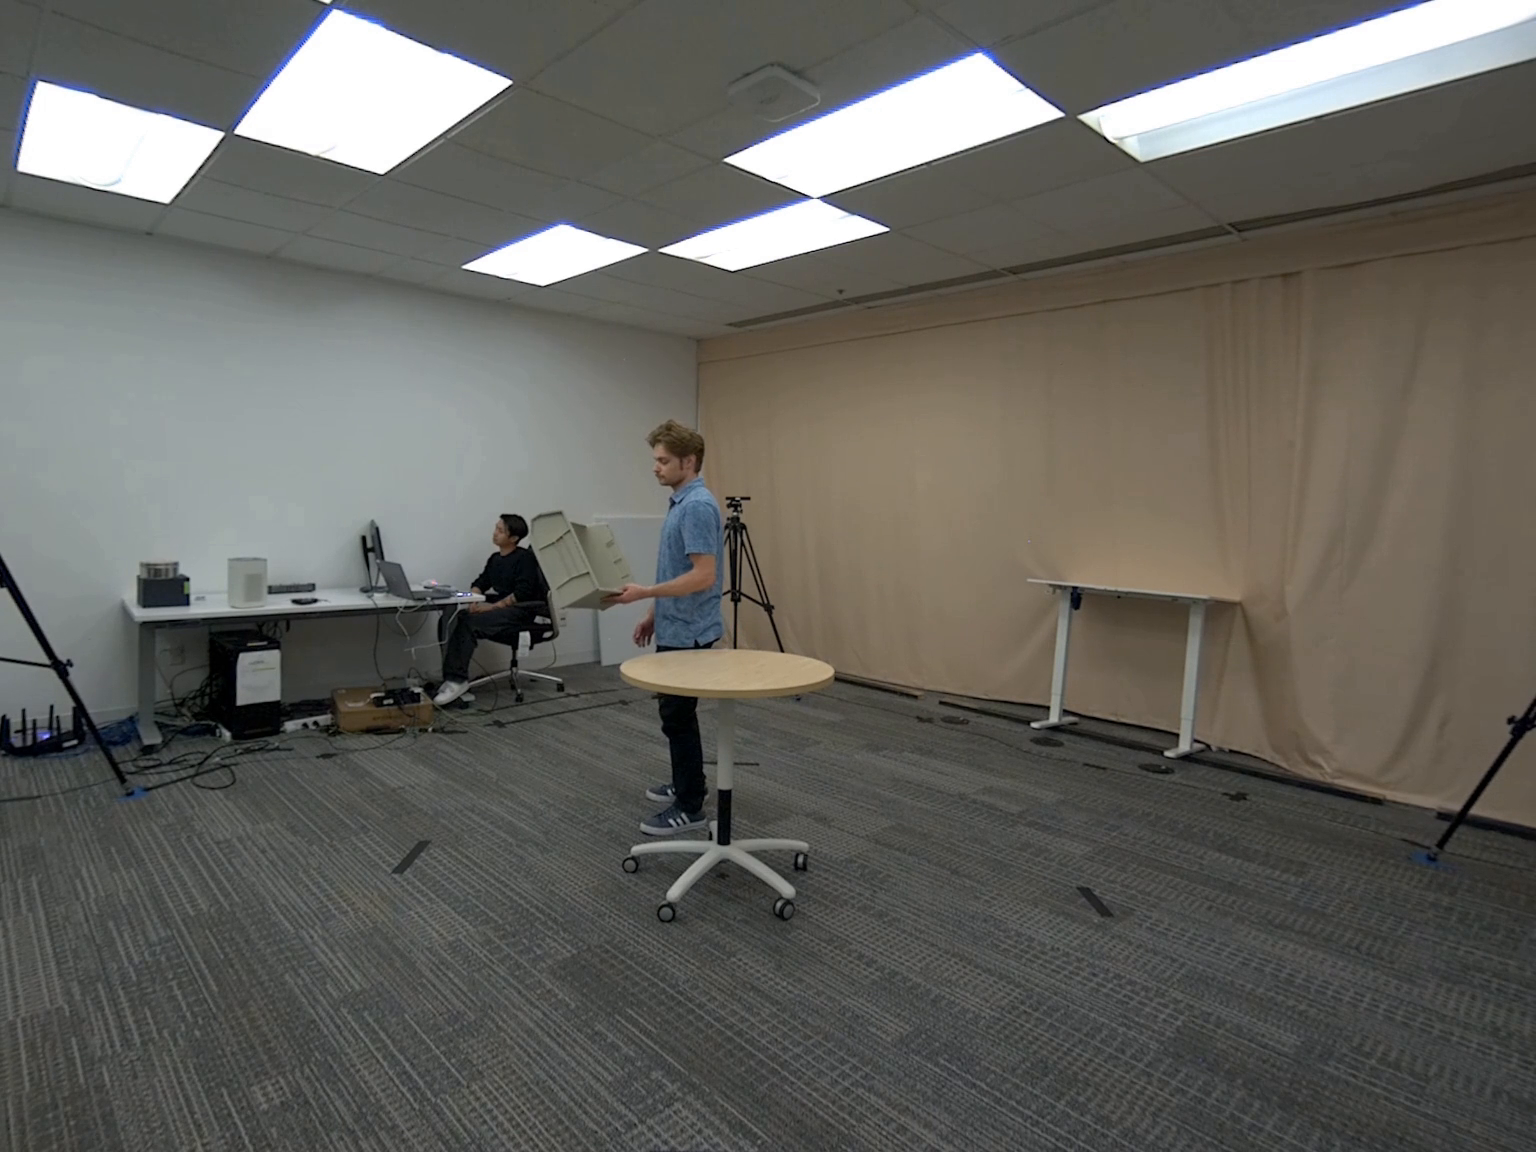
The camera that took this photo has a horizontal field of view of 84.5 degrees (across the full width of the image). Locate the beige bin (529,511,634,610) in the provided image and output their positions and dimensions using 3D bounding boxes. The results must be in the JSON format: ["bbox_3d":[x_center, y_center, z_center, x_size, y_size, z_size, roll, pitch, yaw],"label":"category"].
[{"bbox_3d":[-0.734,-0.058,3.319,0.190,0.382,0.416,-27,-11,10],"label":"beige bin"}]
